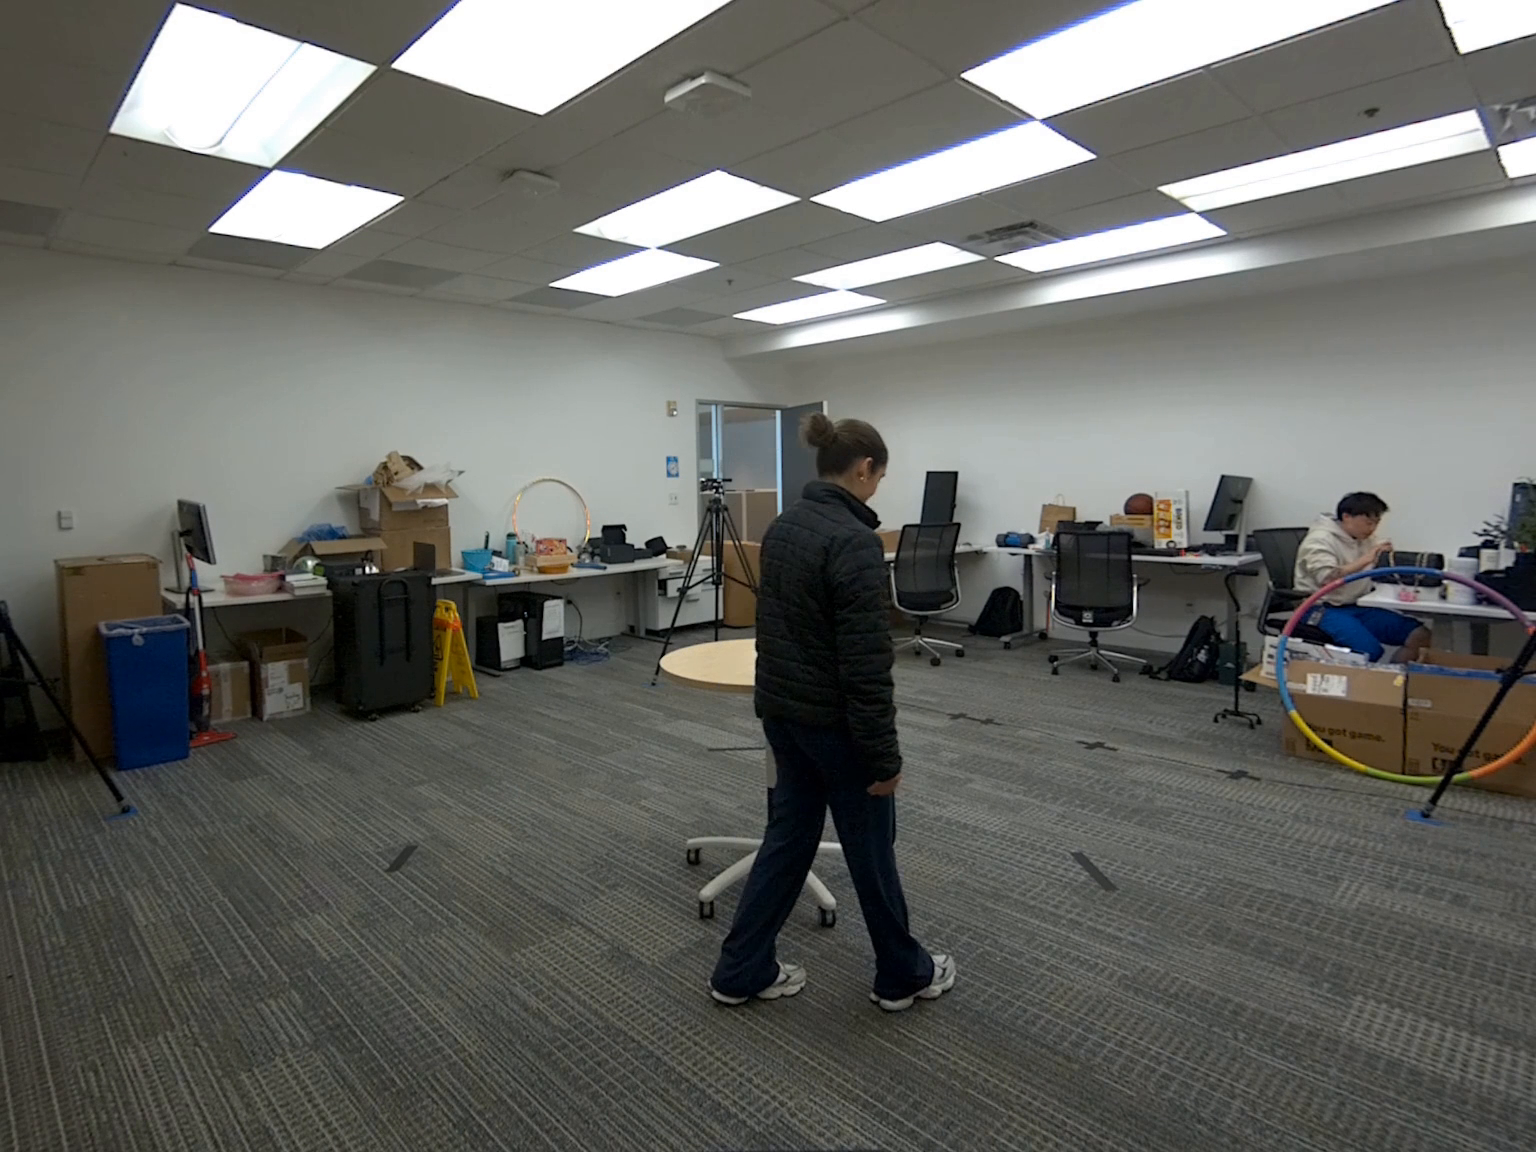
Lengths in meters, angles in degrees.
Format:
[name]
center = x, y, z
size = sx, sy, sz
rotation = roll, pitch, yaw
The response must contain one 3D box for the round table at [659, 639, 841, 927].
[round table]
center = 0.010, 0.670, 2.938
size = 0.784, 0.784, 0.789
rotation = -1, 5, -2
